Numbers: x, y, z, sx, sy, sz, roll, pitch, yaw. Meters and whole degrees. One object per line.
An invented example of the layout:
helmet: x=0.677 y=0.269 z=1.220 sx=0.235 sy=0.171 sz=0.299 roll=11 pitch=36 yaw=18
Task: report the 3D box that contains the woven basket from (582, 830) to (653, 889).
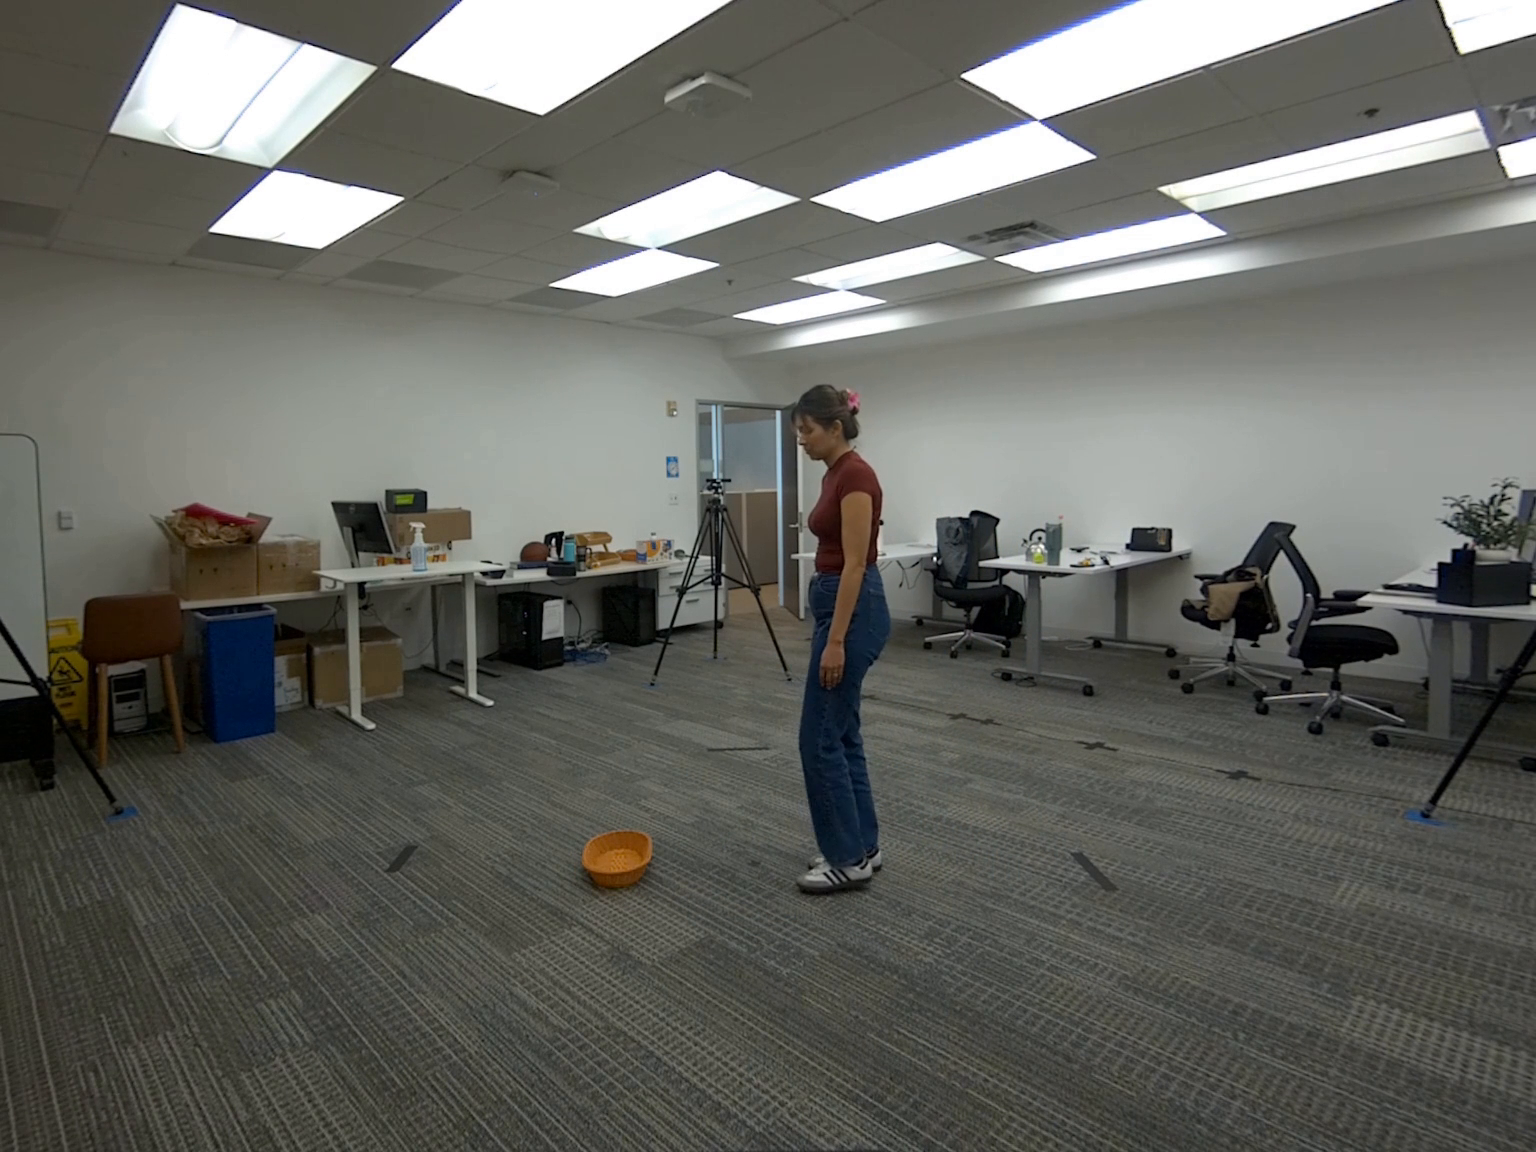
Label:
woven basket: x=-0.535 y=1.014 z=3.074 sx=0.251 sy=0.073 sz=0.353 roll=-3 pitch=7 yaw=-5
